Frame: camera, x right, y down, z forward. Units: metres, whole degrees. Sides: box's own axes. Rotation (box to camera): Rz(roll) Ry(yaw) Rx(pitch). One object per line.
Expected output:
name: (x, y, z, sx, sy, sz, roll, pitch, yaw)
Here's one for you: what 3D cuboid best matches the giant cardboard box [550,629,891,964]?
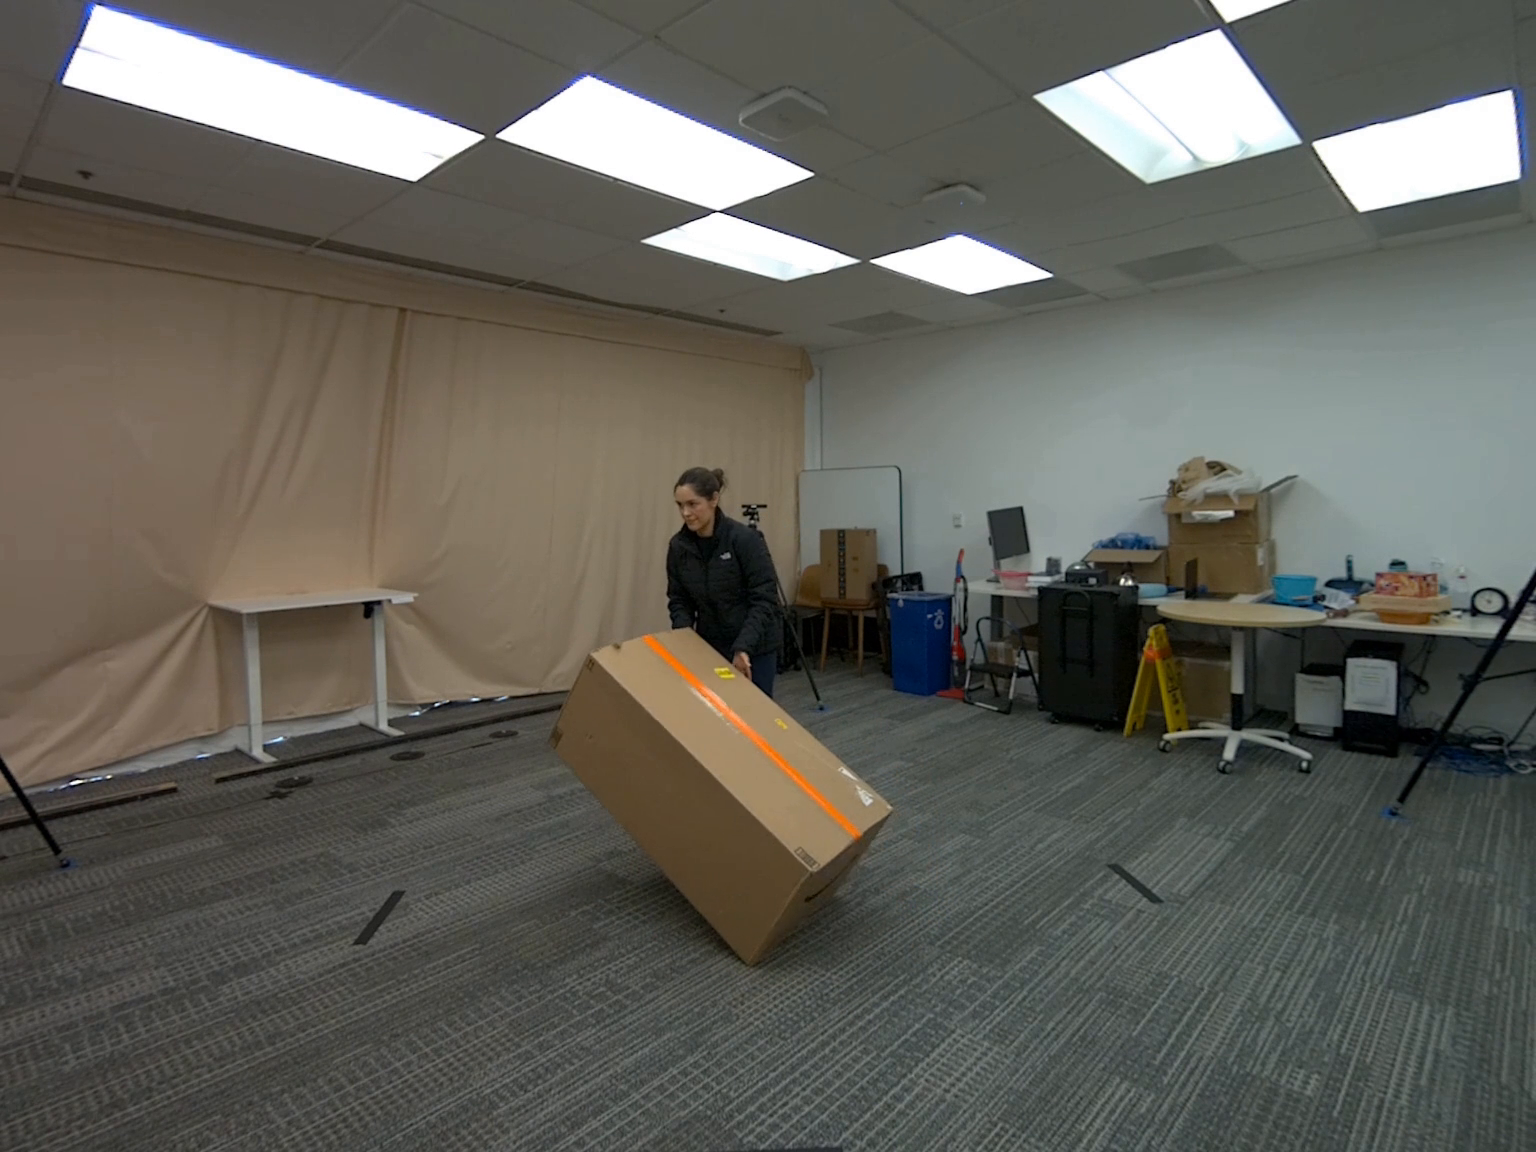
giant cardboard box: (-0.164, 0.689, 2.916, 1.055, 0.426, 0.562, 38, 23, 25)
